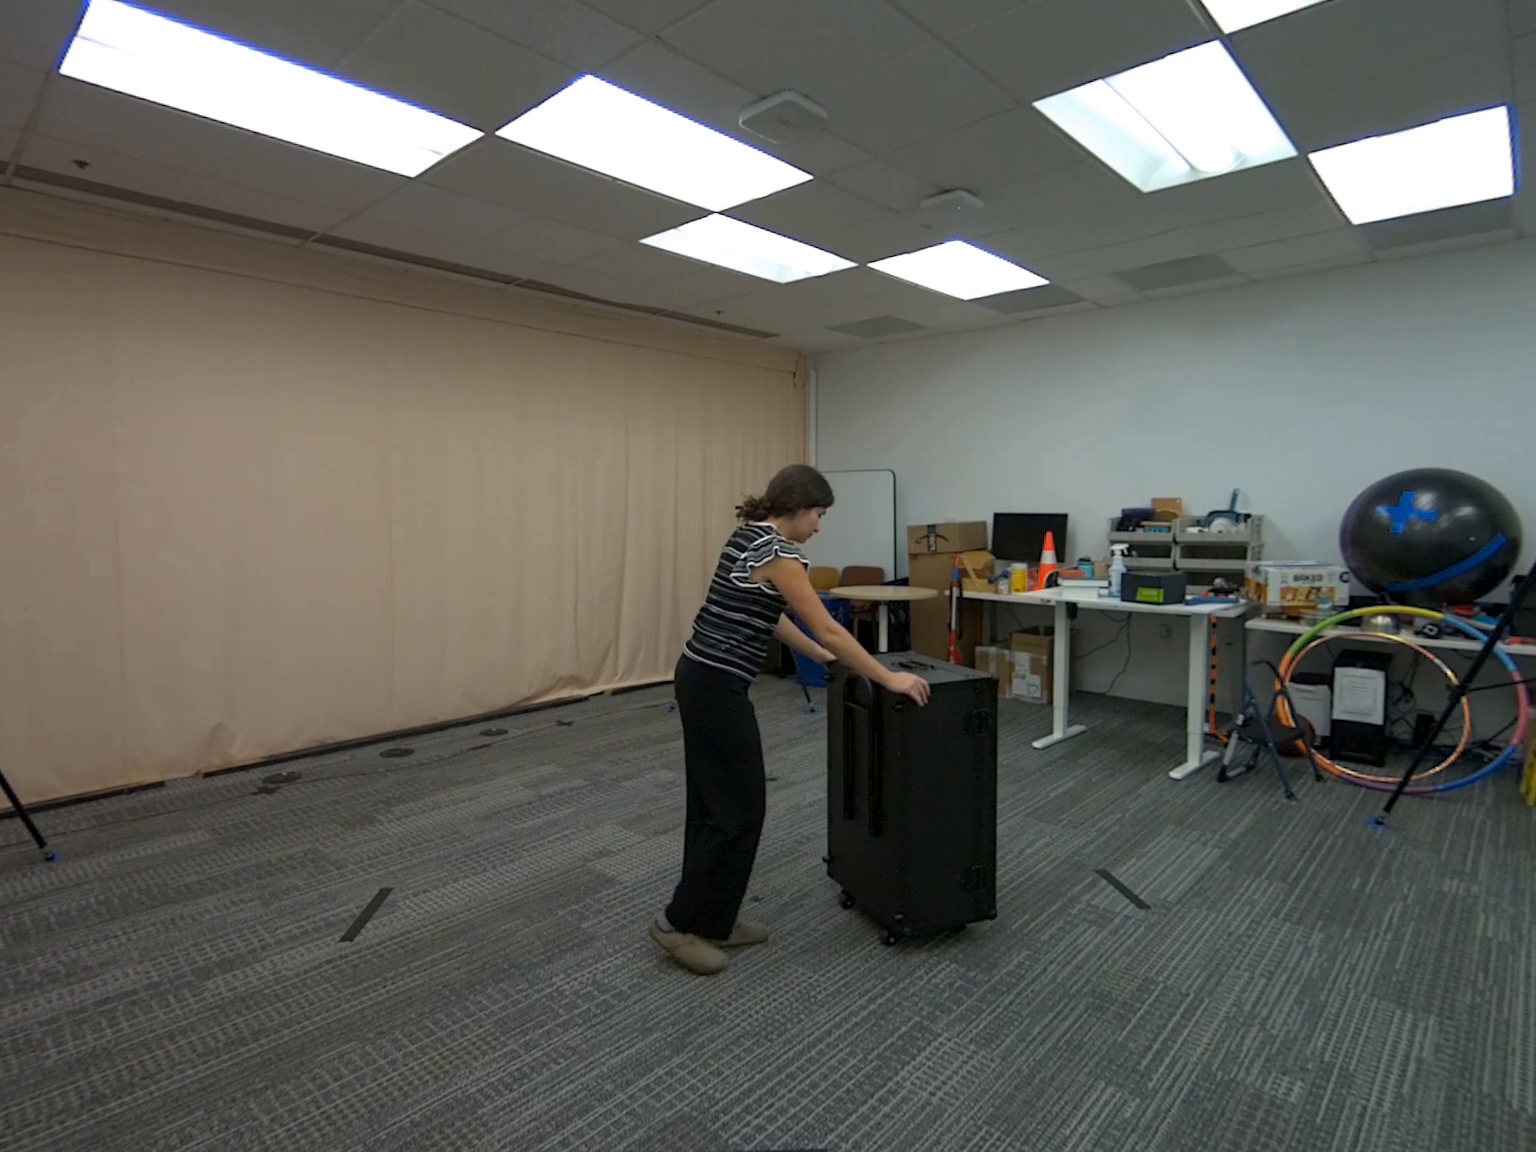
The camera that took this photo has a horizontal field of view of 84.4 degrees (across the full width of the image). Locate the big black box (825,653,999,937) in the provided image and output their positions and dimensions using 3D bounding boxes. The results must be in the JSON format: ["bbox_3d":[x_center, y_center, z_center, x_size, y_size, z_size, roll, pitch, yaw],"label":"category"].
[{"bbox_3d":[0.466,0.732,2.826,0.387,0.859,0.534,-2,4,-24],"label":"big black box"}]
